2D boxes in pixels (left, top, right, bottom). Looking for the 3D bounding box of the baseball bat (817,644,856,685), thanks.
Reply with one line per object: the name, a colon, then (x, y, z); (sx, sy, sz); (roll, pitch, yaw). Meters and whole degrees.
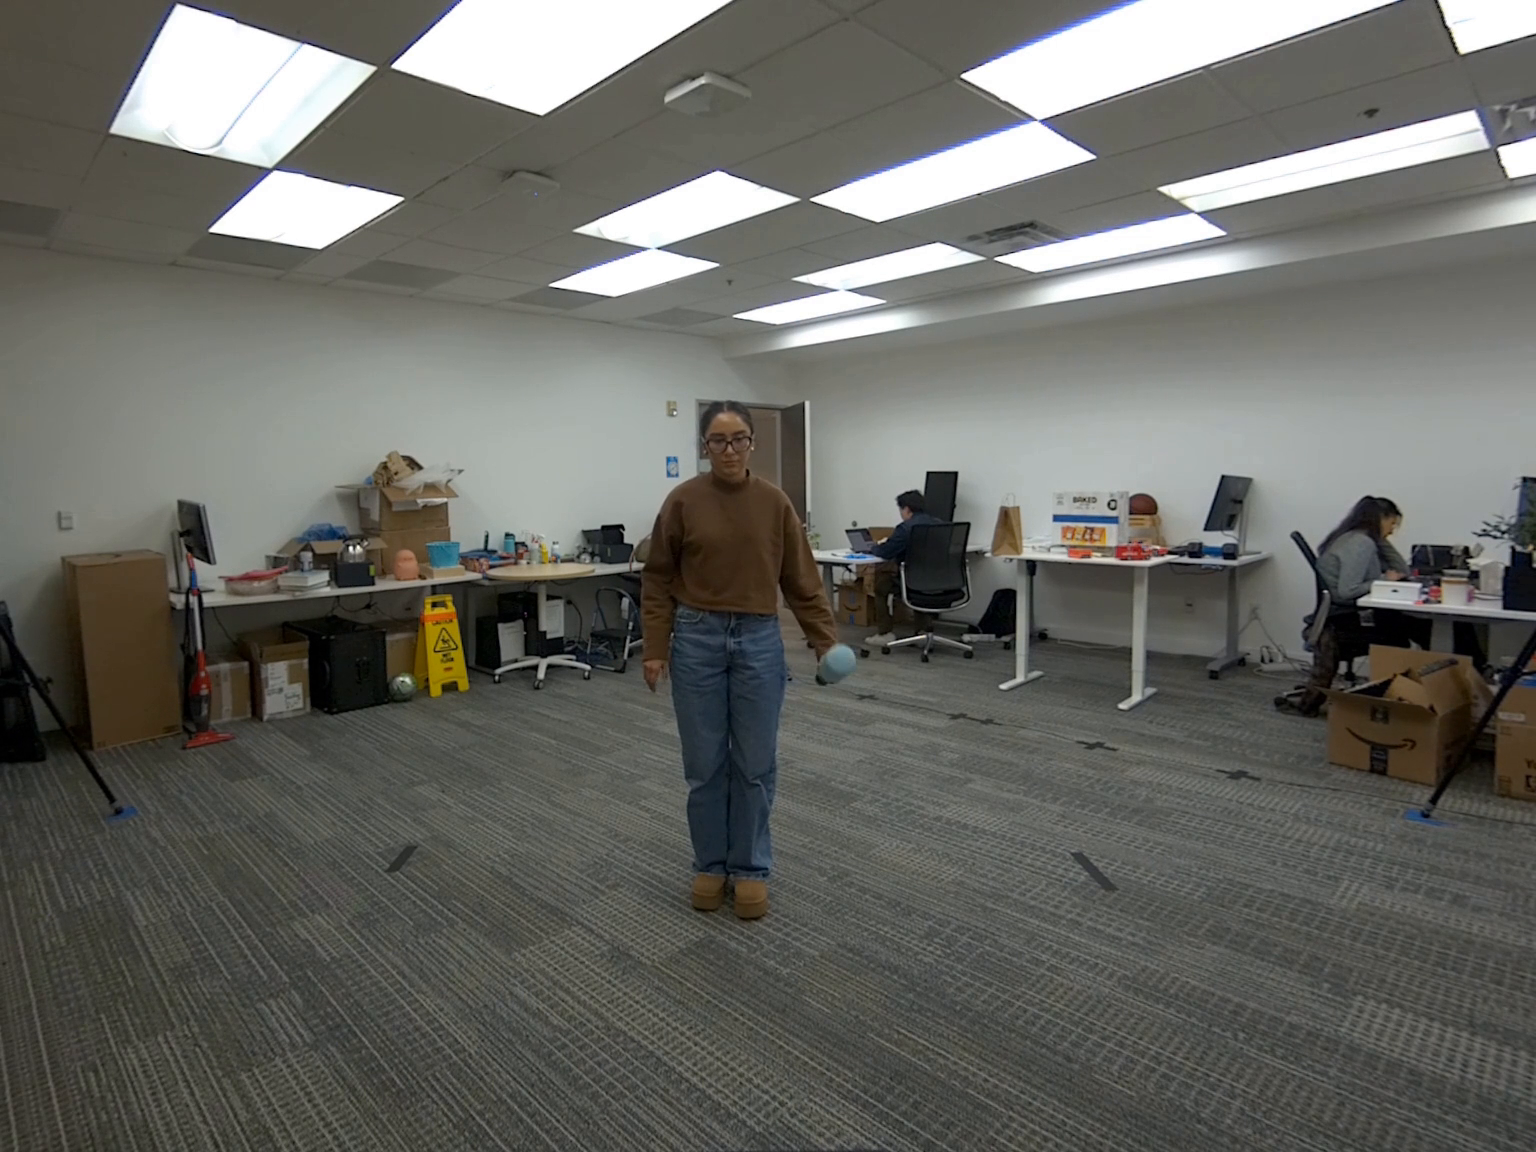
baseball bat: (0.182, 0.292, 2.659); (0.089, 0.090, 0.539); (-1, -9, -4)
